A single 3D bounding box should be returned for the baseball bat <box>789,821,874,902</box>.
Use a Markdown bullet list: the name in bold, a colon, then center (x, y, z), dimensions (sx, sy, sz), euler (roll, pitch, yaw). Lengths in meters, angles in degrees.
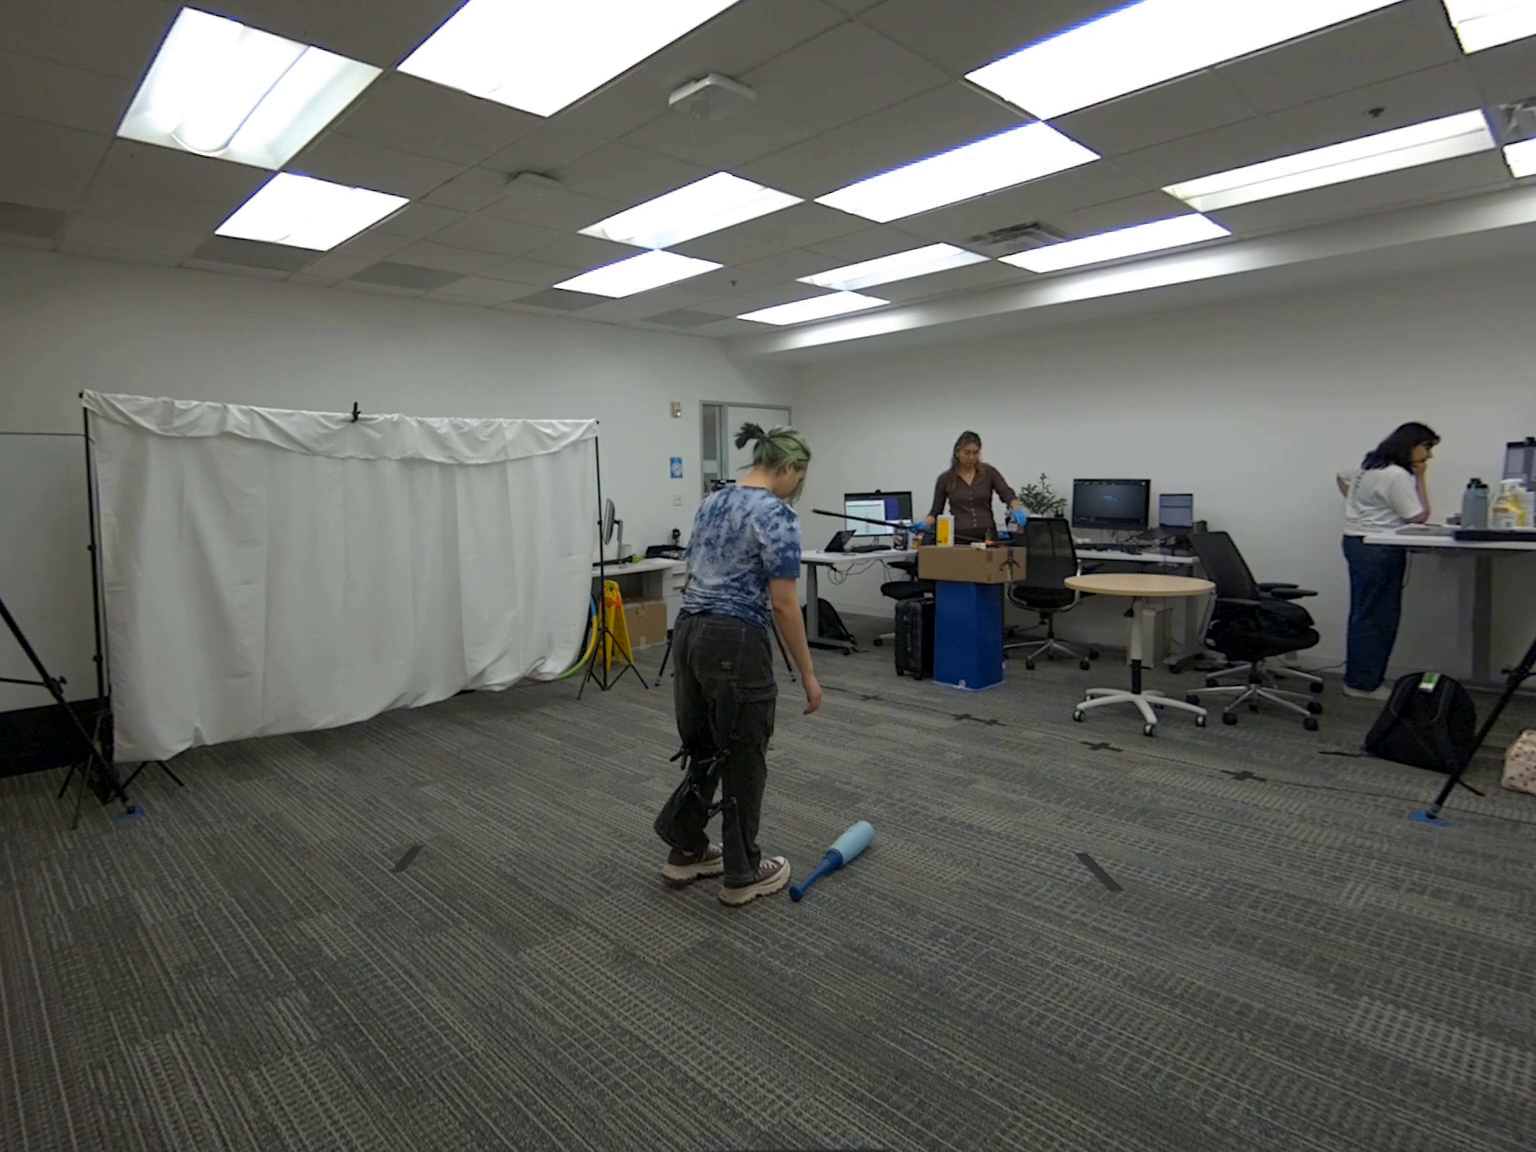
- **baseball bat**: center (0.233, 1.014, 3.036), dimensions (0.091, 0.088, 0.532), euler (2, 10, 32)
